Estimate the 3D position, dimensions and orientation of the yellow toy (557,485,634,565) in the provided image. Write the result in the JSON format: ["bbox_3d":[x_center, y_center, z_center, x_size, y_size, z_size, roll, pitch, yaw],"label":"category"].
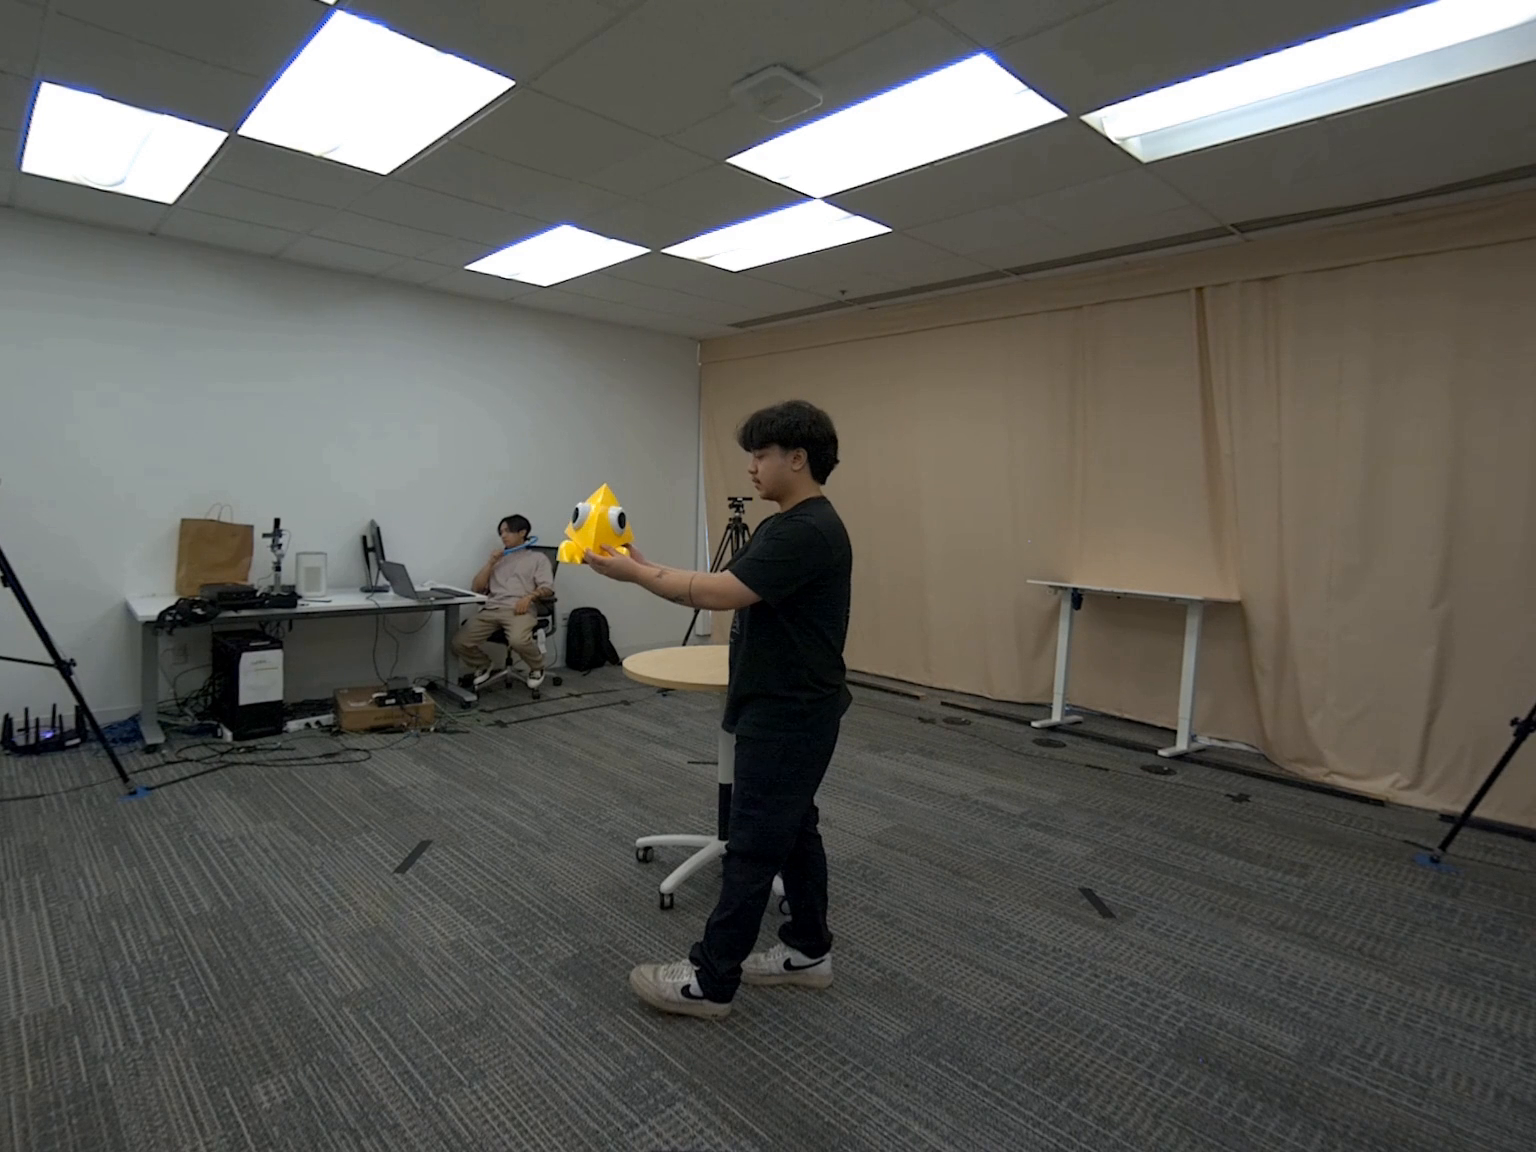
[{"bbox_3d":[-0.472,-0.144,2.351,0.204,0.230,0.194,7,1,-7],"label":"yellow toy"}]
